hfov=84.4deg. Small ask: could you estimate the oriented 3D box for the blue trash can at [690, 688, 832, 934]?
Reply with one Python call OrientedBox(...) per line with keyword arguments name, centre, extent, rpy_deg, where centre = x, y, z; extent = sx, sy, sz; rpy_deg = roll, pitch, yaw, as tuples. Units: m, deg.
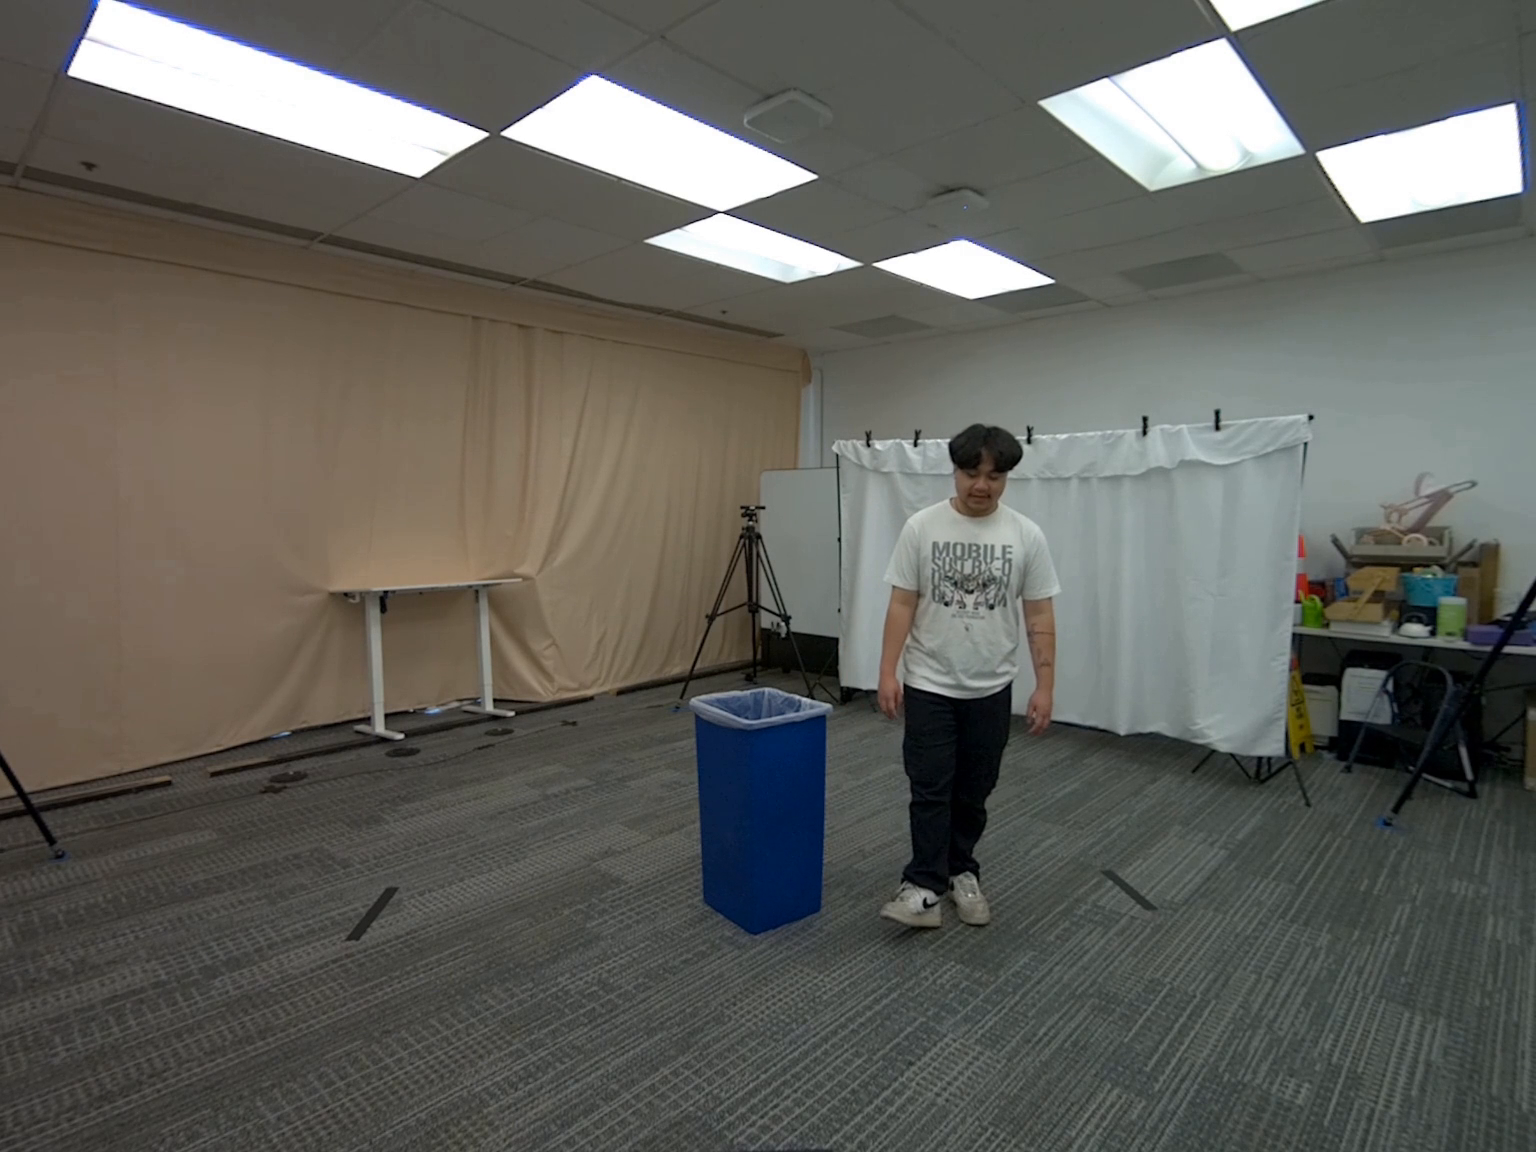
OrientedBox(name="blue trash can", centre=(-0.025, 0.795, 2.910), extent=(0.363, 0.712, 0.390), rpy_deg=(-2, 4, -37))
